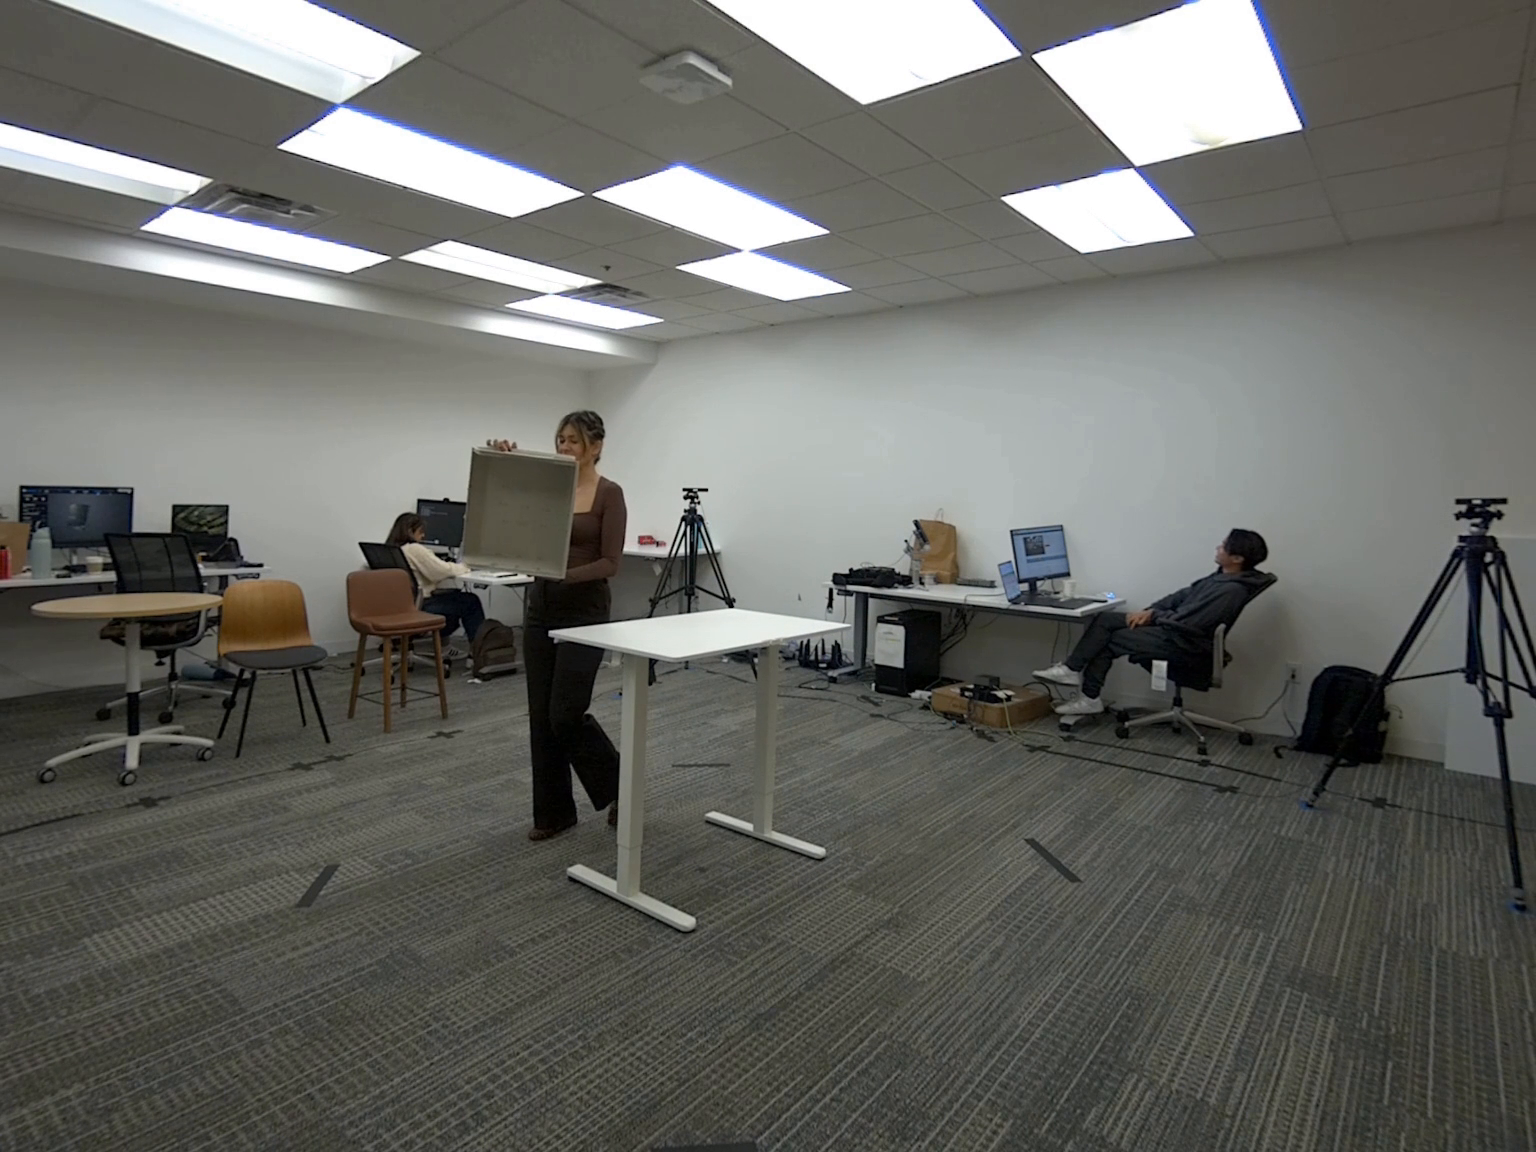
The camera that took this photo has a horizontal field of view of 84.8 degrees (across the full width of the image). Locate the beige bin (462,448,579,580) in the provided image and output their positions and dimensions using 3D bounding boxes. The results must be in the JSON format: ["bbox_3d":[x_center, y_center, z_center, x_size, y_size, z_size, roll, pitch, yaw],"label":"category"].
[{"bbox_3d":[-0.904,-0.234,3.019,0.371,0.419,0.193,7,9,-14],"label":"beige bin"}]
